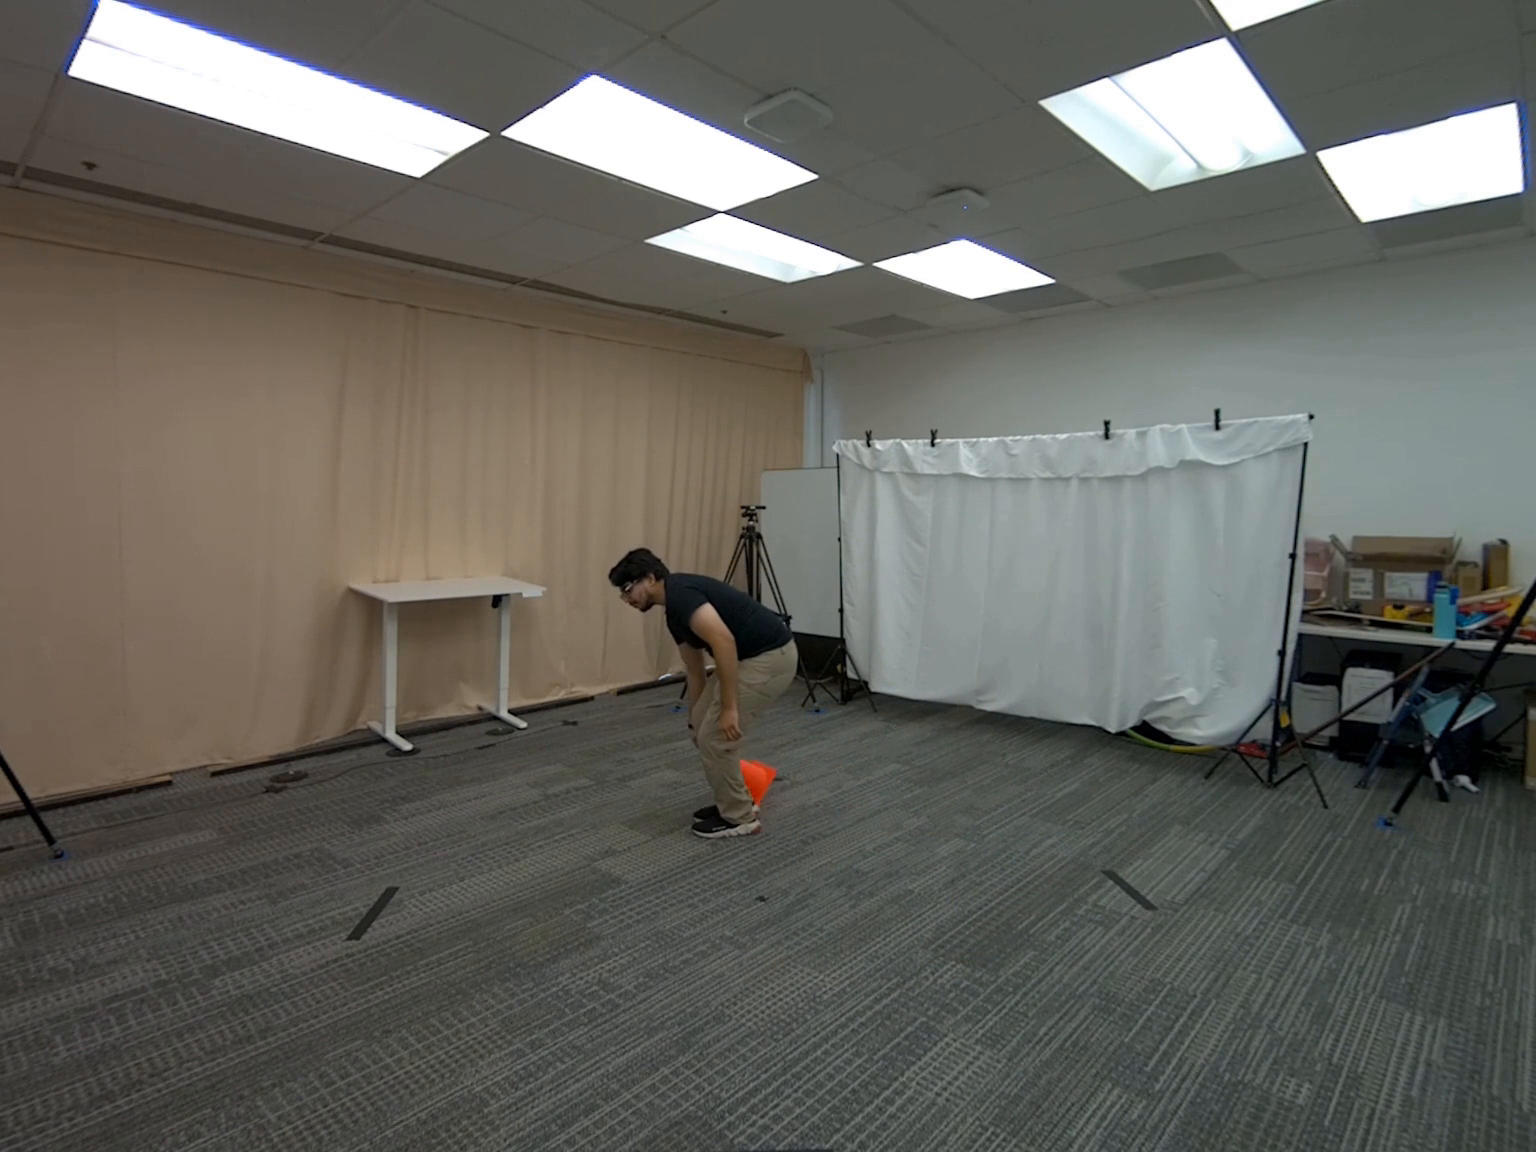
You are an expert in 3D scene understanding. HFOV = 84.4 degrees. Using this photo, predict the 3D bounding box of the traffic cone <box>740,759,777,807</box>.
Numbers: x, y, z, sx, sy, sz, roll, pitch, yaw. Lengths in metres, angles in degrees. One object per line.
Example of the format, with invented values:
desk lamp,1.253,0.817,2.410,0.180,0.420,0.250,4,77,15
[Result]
traffic cone,-0.178,0.876,3.918,0.374,0.204,0.209,44,-23,-24
